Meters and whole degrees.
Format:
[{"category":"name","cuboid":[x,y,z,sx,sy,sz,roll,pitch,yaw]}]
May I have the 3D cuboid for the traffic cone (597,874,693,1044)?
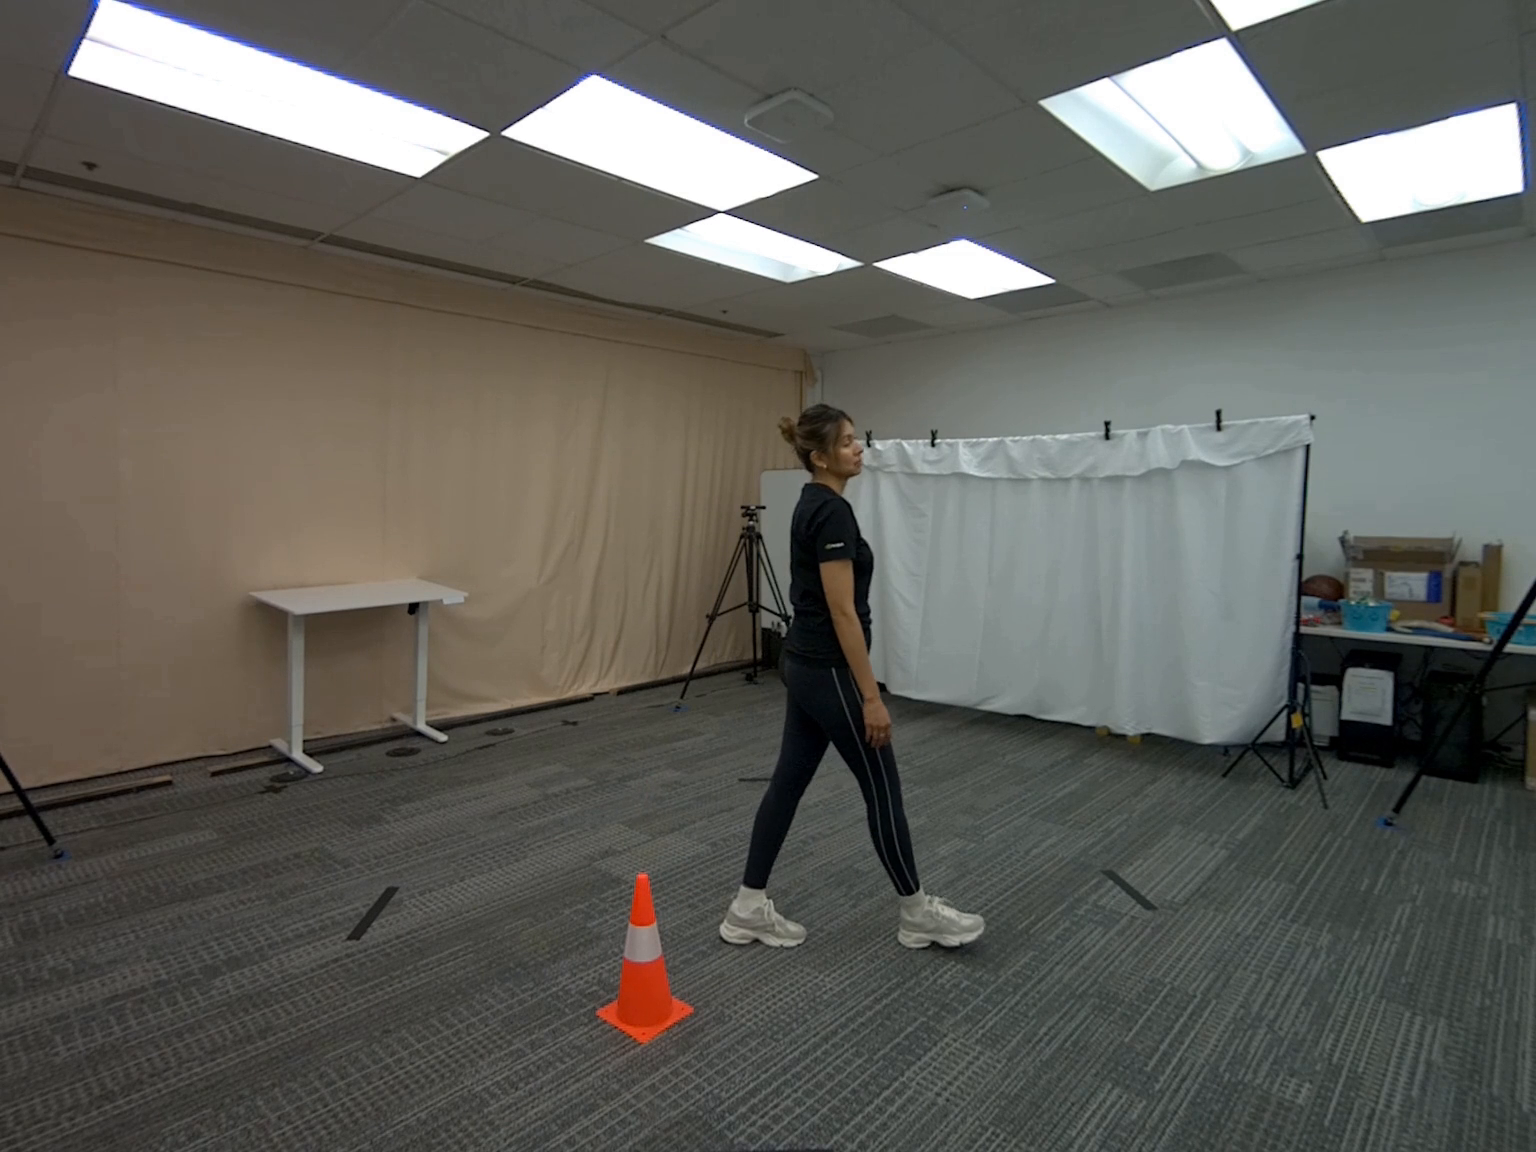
[{"category":"traffic cone","cuboid":[-0.341,1.016,2.310,0.212,0.383,0.197,1,2,43]}]
